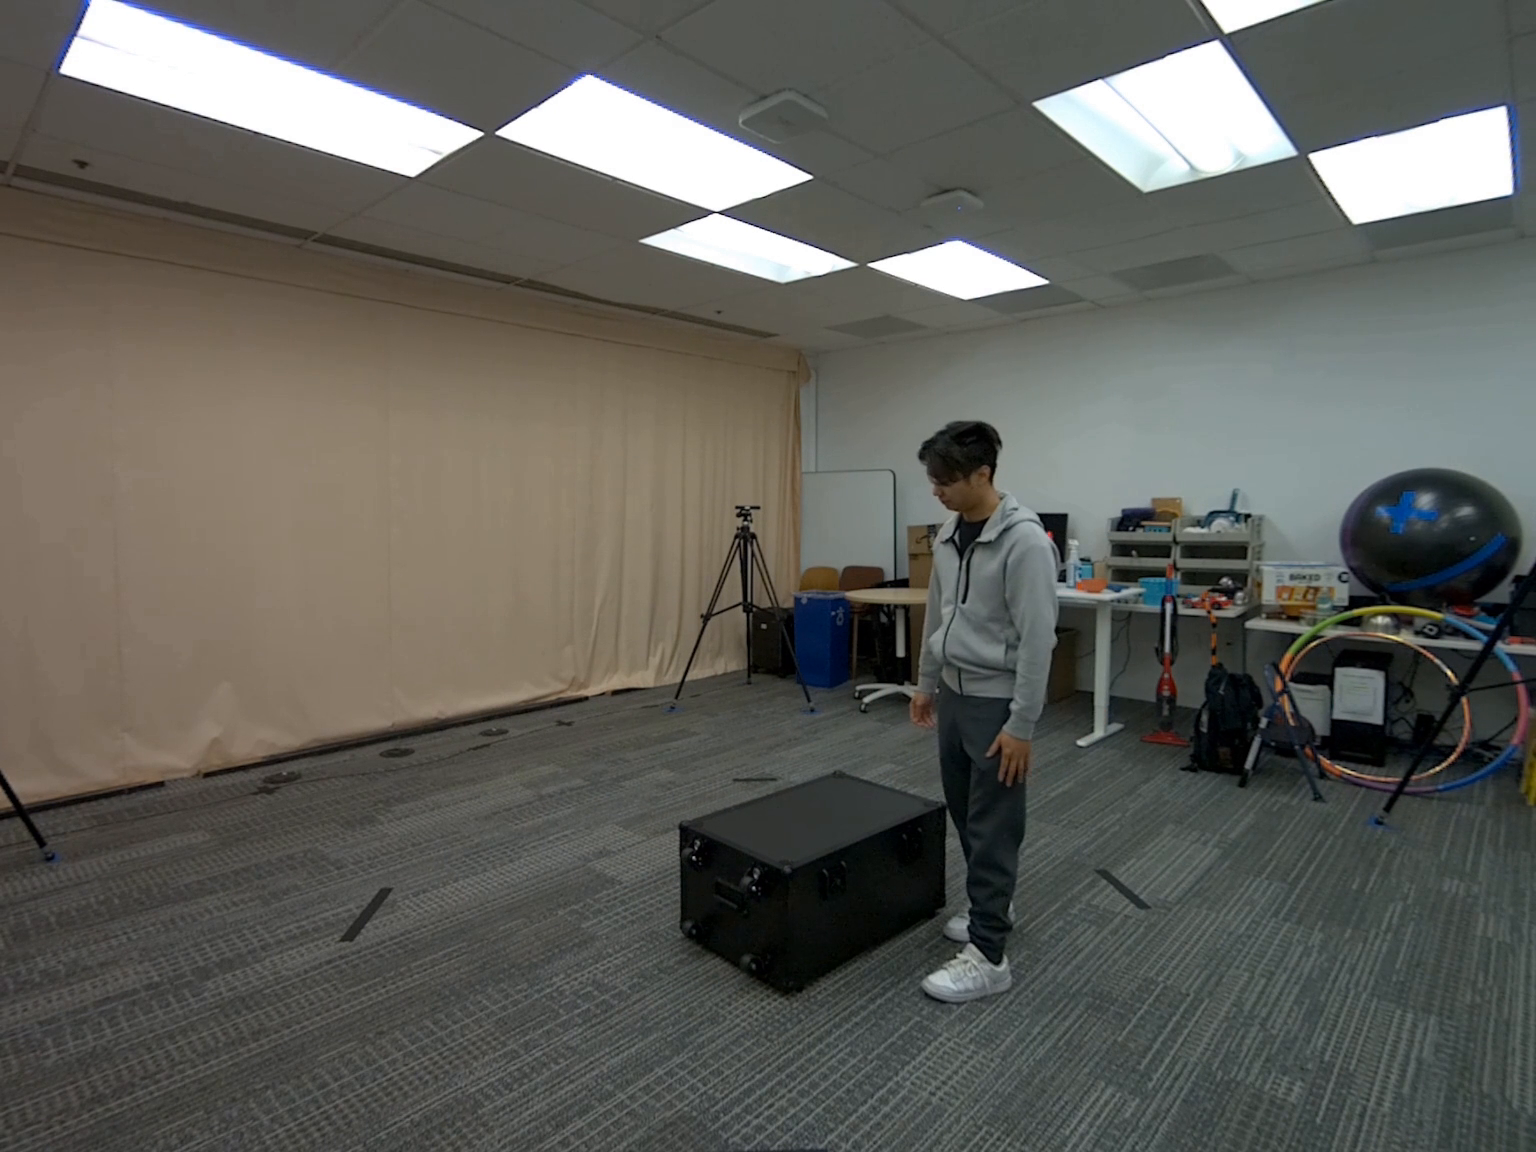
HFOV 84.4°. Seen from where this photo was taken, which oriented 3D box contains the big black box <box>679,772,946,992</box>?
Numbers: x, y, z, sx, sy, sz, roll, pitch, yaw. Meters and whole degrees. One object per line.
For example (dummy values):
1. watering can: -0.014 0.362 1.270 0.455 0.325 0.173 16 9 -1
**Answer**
1. big black box: 0.141 0.971 2.768 0.835 0.395 0.539 -4 5 -44
